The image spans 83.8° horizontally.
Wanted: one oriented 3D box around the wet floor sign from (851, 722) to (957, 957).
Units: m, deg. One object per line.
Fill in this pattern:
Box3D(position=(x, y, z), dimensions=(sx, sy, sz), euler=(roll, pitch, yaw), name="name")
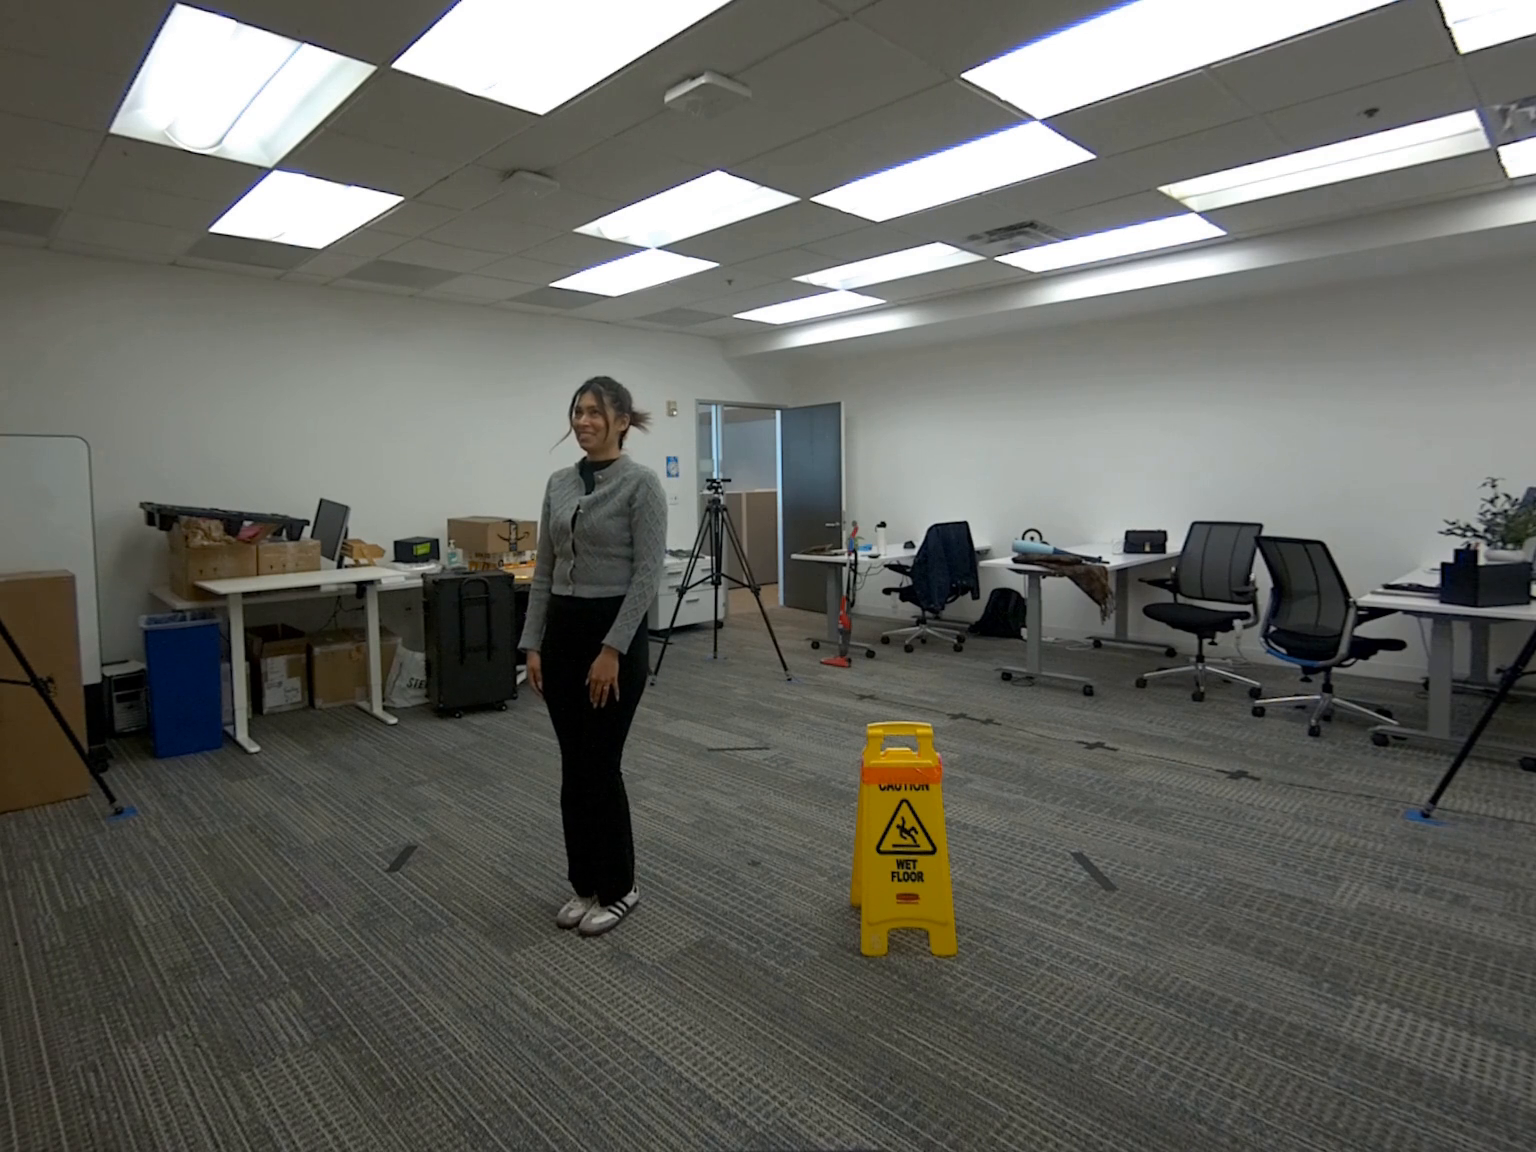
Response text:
Box3D(position=(0.405, 0.770, 2.614), dimensions=(0.282, 0.643, 0.291), euler=(-2, 5, 0), name="wet floor sign")
